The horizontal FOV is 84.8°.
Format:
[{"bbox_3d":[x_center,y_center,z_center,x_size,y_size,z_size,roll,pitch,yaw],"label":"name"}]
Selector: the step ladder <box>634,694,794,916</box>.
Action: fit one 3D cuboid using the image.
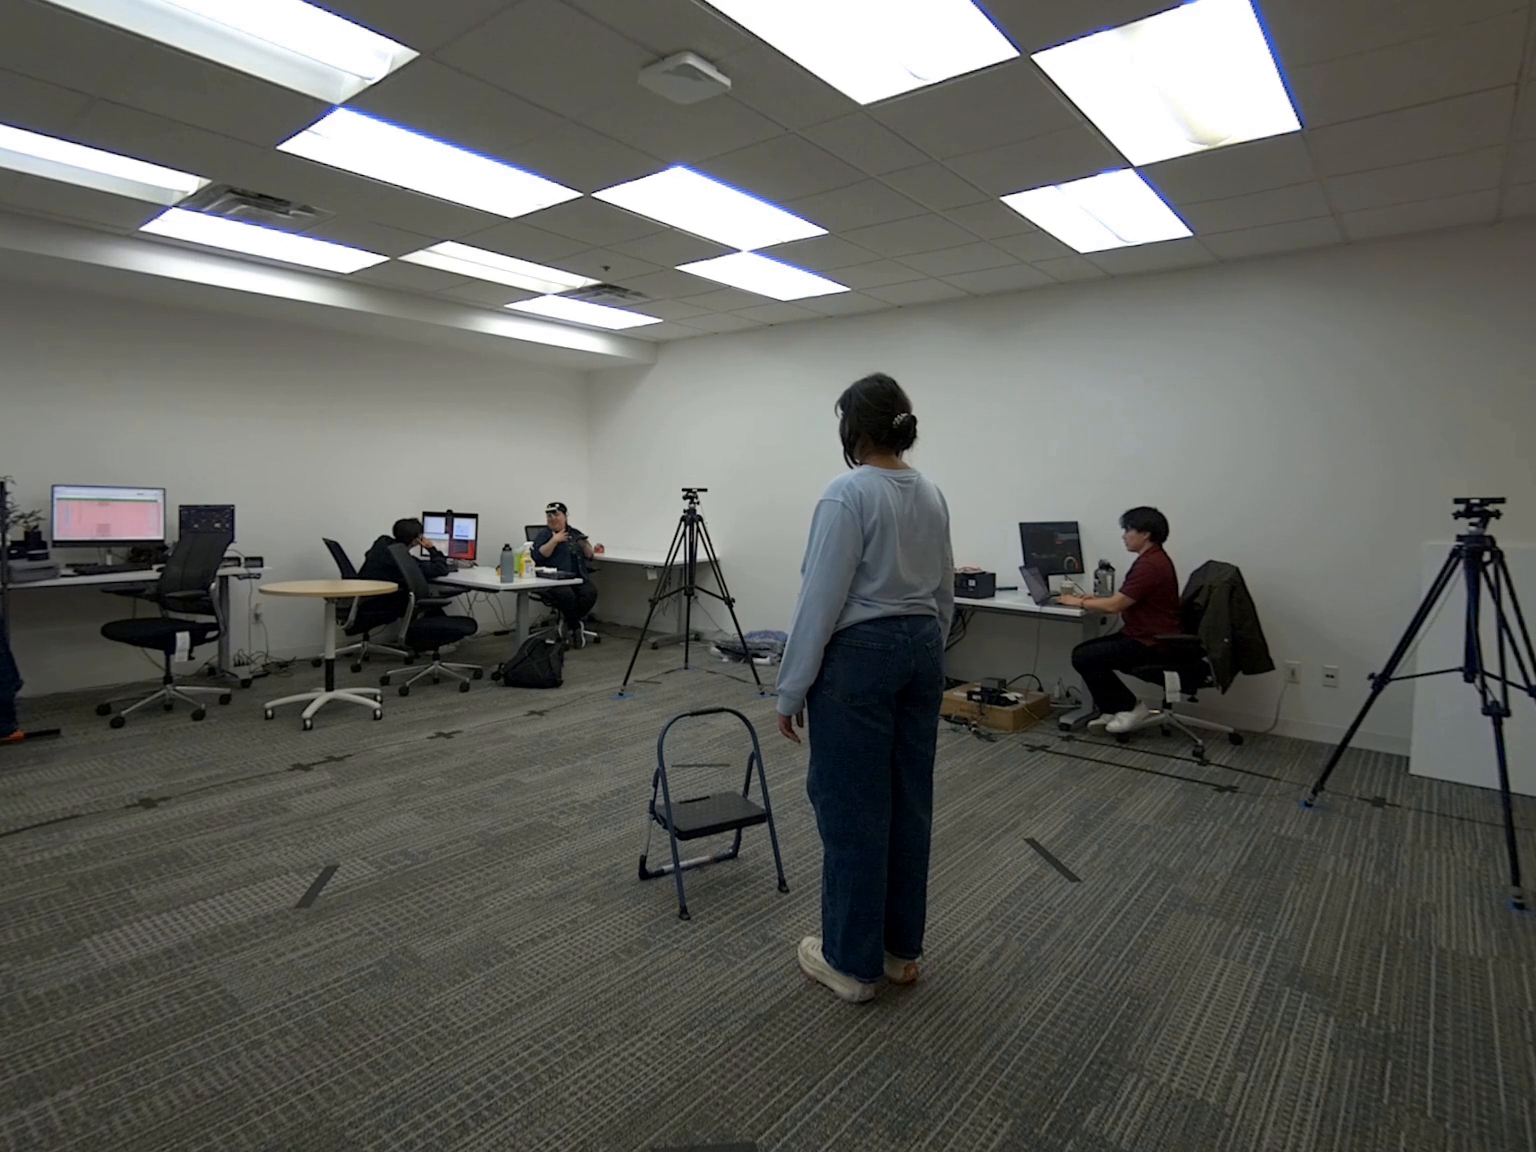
[{"bbox_3d":[-0.195,0.776,2.975,0.418,0.604,0.360,0,4,-34],"label":"step ladder"}]
